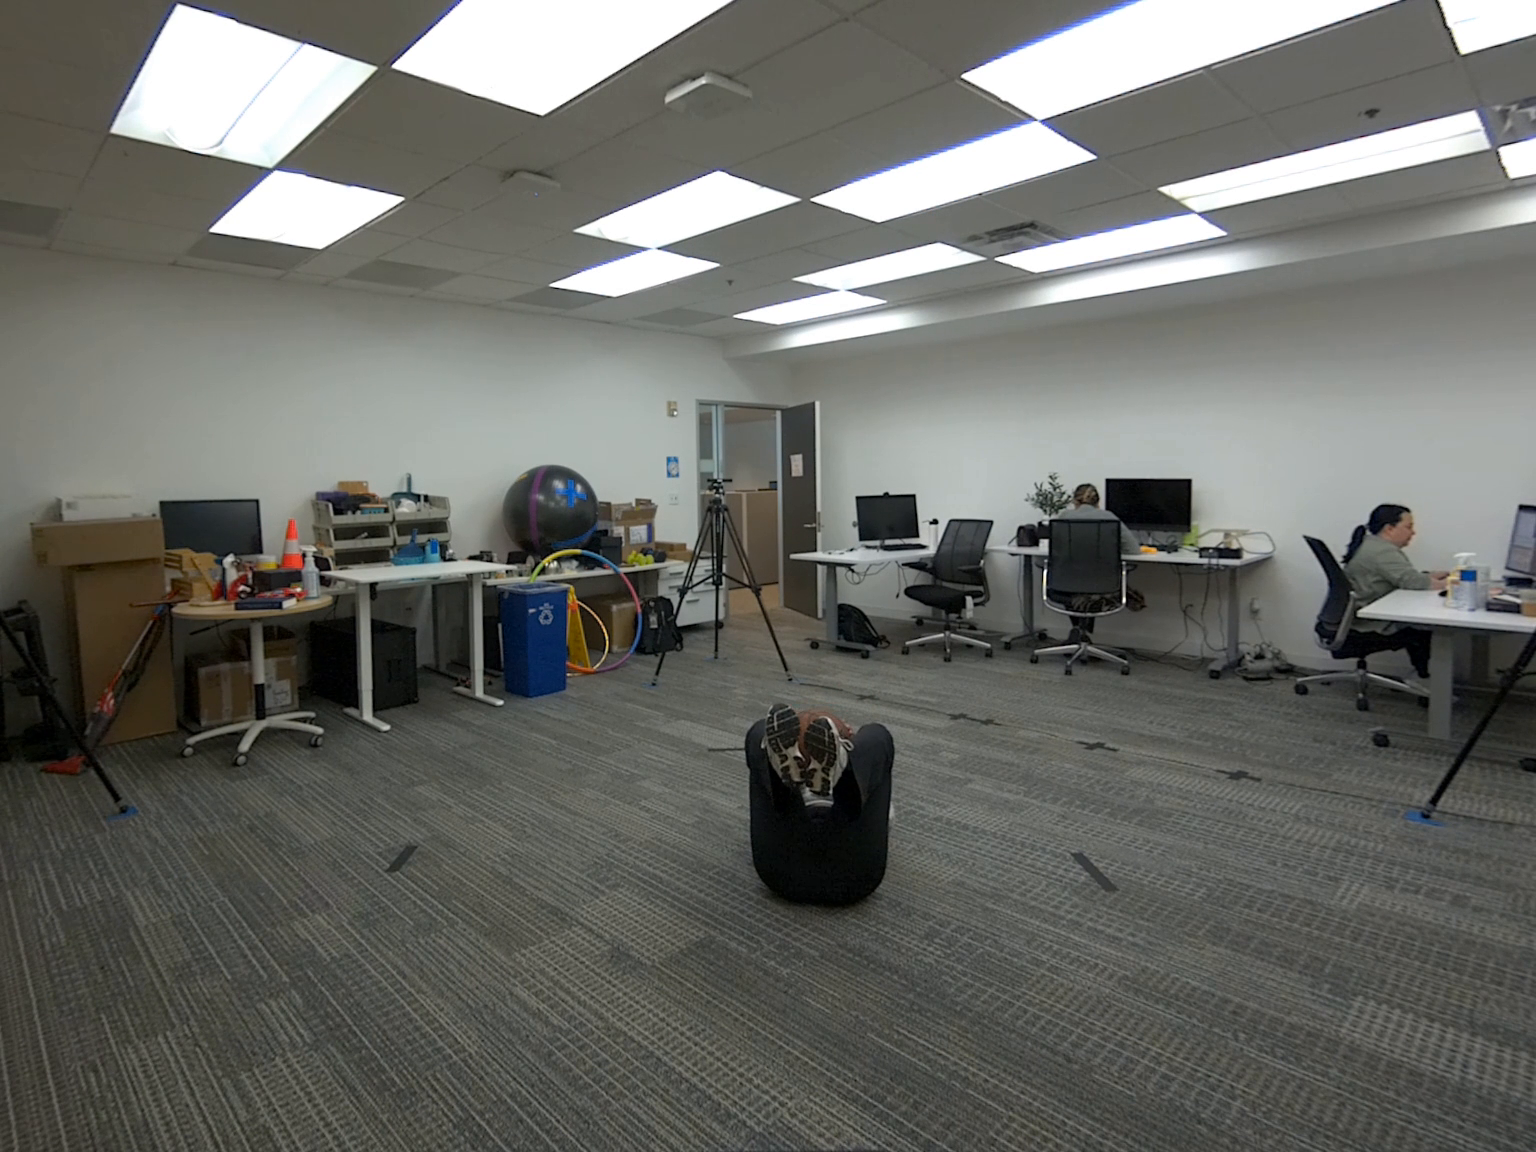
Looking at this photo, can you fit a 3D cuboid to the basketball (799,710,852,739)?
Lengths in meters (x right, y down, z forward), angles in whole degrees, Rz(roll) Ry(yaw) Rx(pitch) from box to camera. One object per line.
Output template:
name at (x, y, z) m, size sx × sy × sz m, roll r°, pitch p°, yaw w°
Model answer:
basketball at (0.161, 0.548, 2.779) m, size 0.236 × 0.235 × 0.237 m, roll -1°, pitch 4°, yaw -2°
